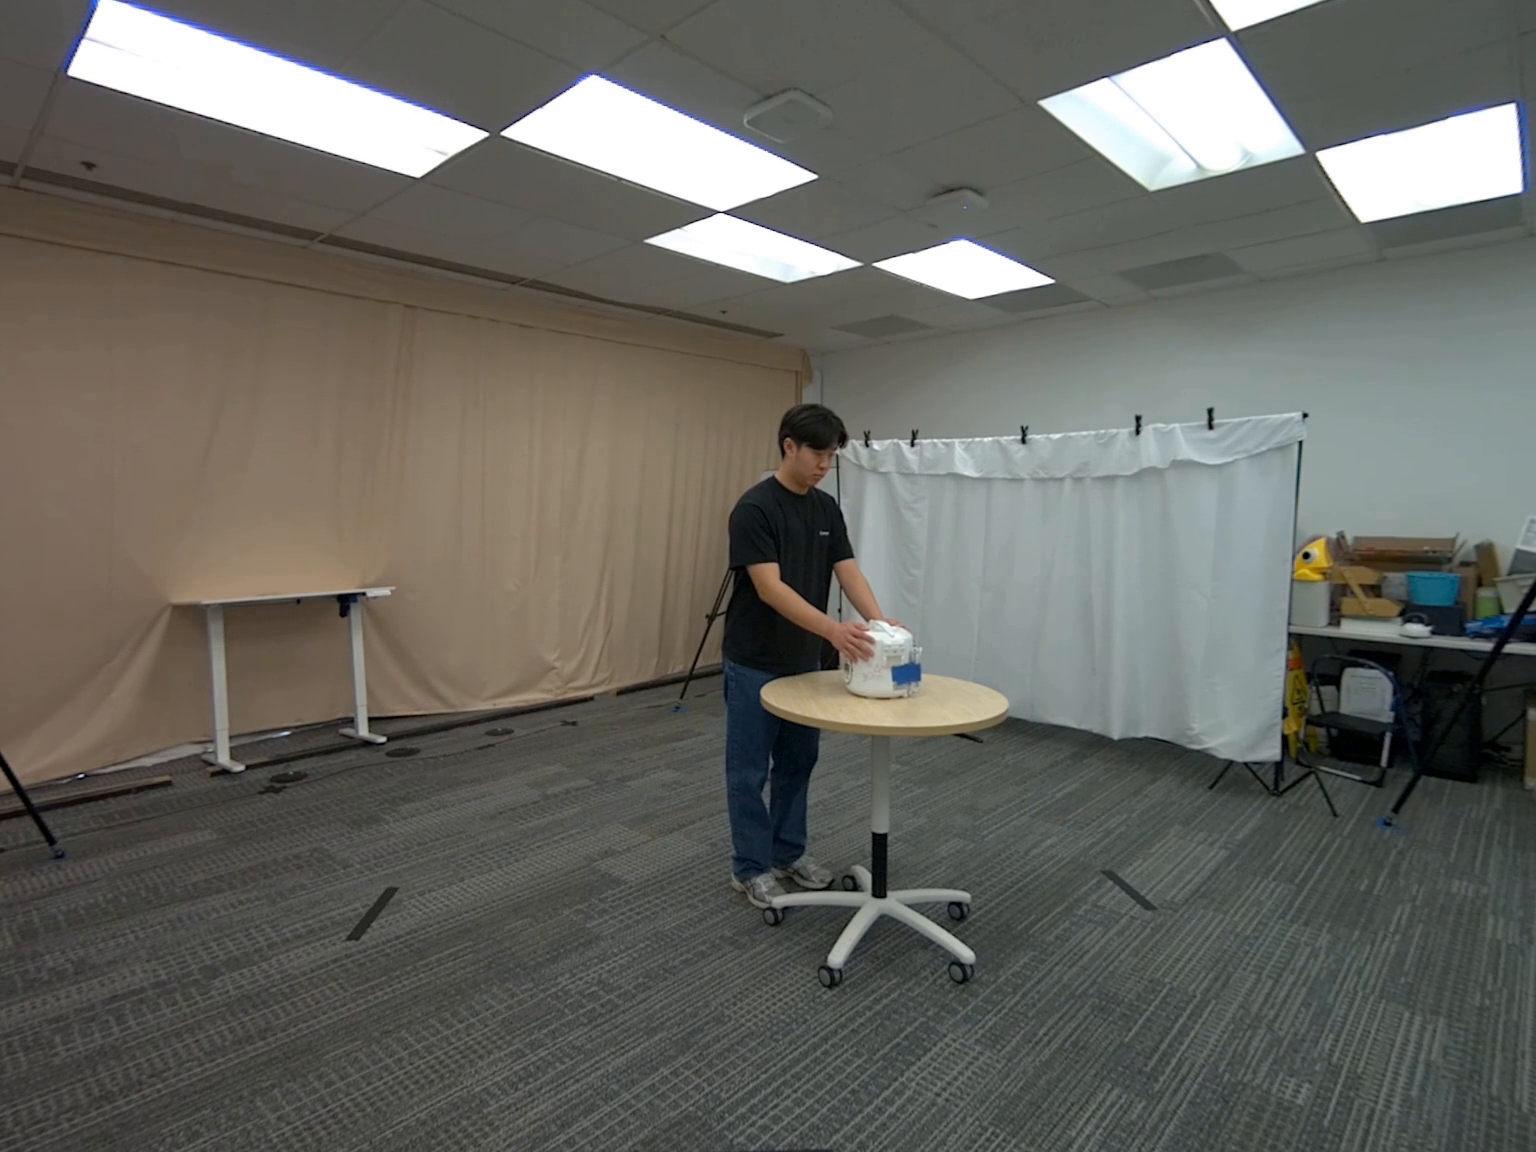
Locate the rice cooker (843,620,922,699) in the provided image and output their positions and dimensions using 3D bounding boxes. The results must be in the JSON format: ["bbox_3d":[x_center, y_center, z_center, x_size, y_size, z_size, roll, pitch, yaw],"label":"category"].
[{"bbox_3d":[0.356,0.257,2.671,0.214,0.232,0.224,0,2,-16],"label":"rice cooker"}]
